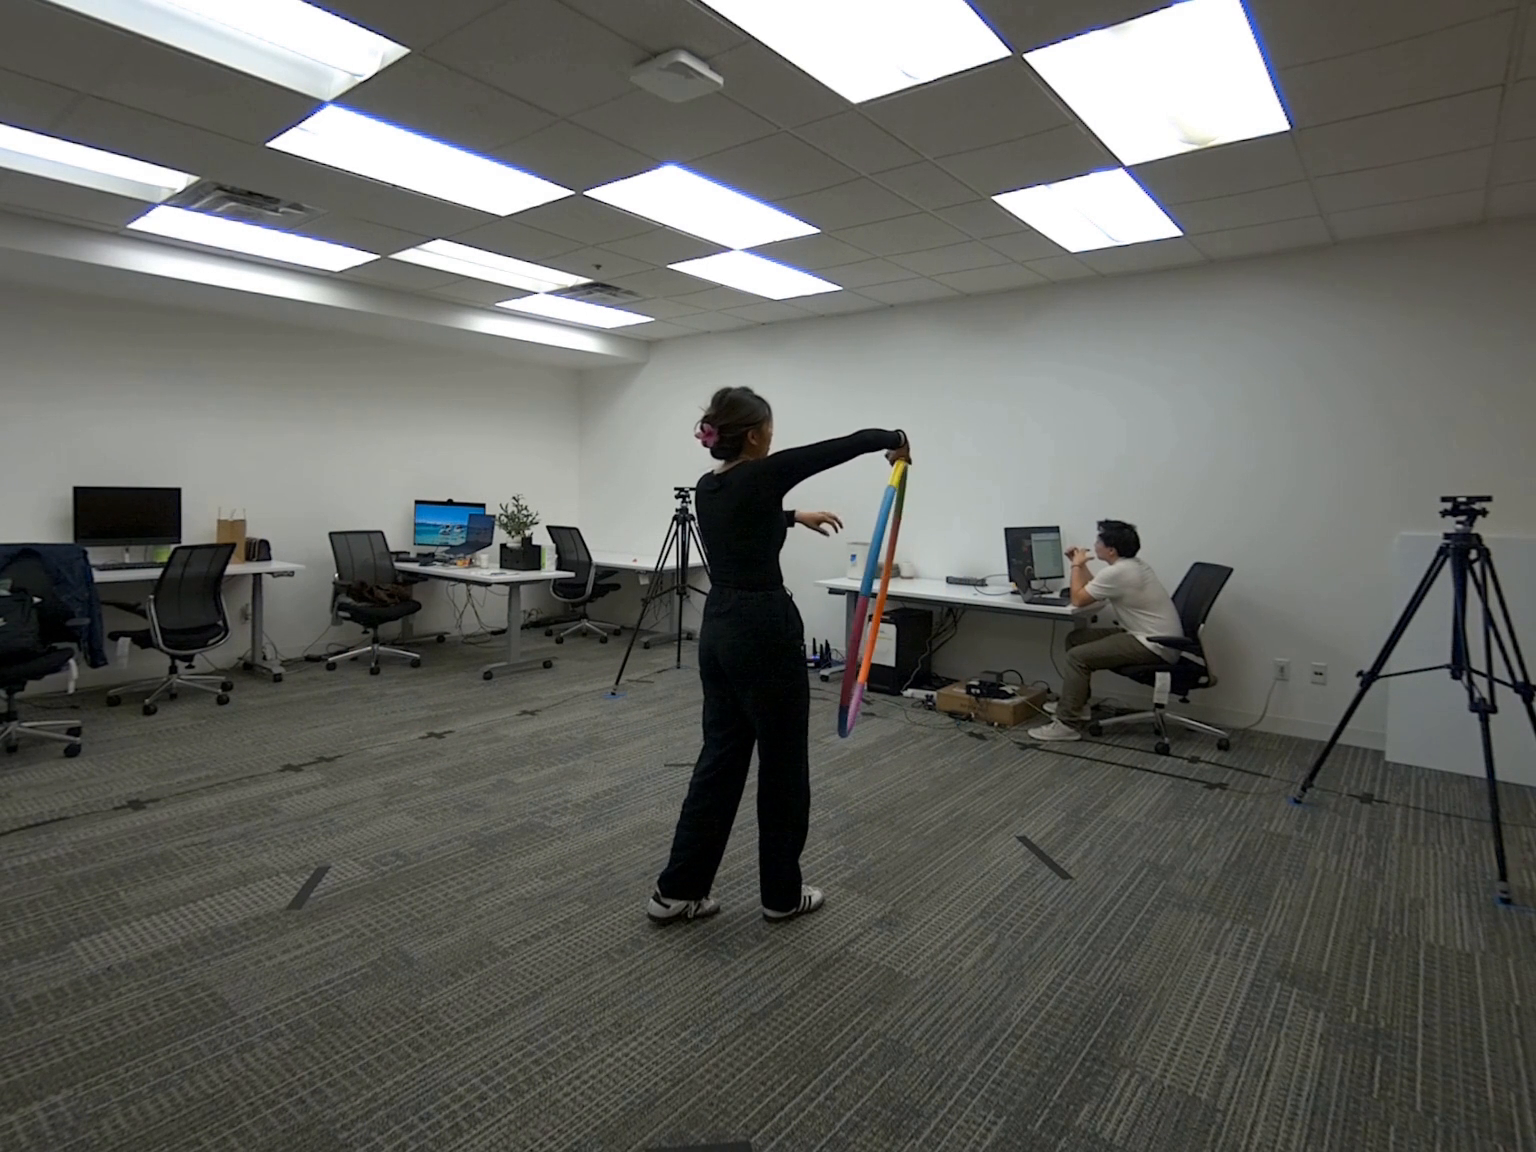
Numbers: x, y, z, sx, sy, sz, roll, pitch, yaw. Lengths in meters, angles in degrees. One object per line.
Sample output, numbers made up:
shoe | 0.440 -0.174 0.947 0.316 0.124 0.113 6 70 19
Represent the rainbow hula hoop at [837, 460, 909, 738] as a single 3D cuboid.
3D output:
rainbow hula hoop | 0.366 0.078 2.965 0.052 0.981 0.974 10 6 11
